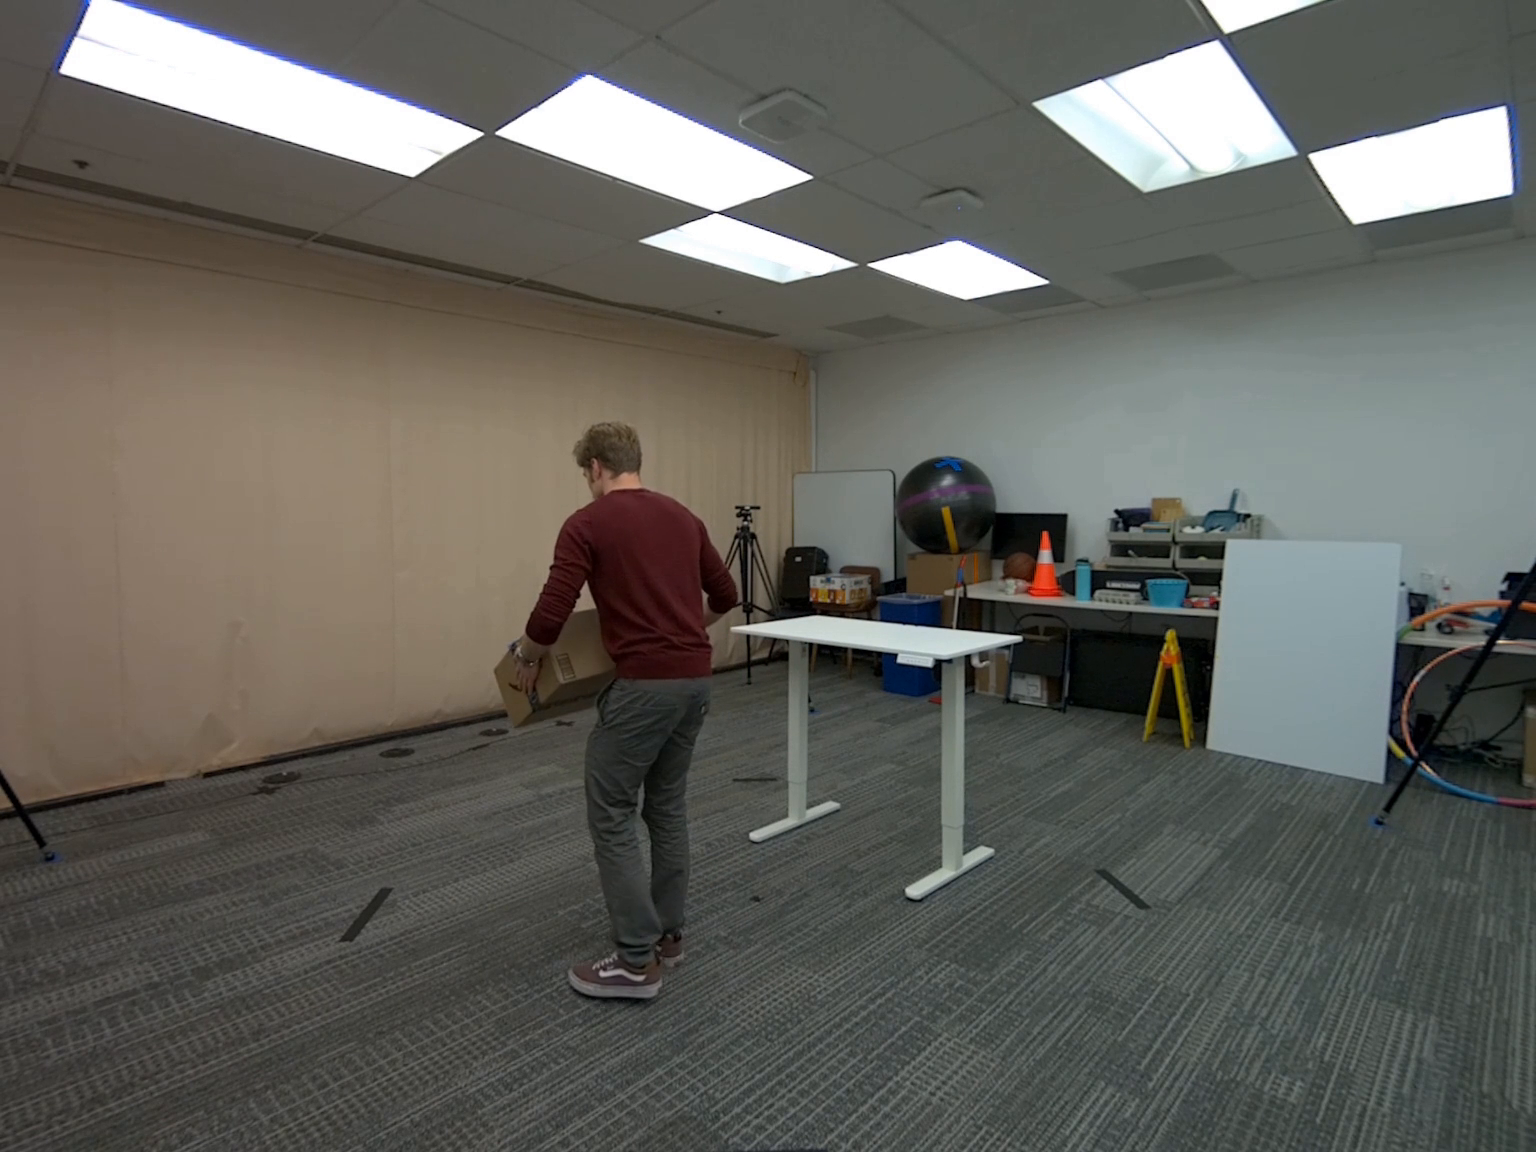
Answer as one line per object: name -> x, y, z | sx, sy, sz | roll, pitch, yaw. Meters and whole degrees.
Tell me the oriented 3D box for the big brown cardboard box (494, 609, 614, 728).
big brown cardboard box -> -0.567, 0.271, 2.805 | 0.572, 0.237, 0.423 | -7, -21, -40
